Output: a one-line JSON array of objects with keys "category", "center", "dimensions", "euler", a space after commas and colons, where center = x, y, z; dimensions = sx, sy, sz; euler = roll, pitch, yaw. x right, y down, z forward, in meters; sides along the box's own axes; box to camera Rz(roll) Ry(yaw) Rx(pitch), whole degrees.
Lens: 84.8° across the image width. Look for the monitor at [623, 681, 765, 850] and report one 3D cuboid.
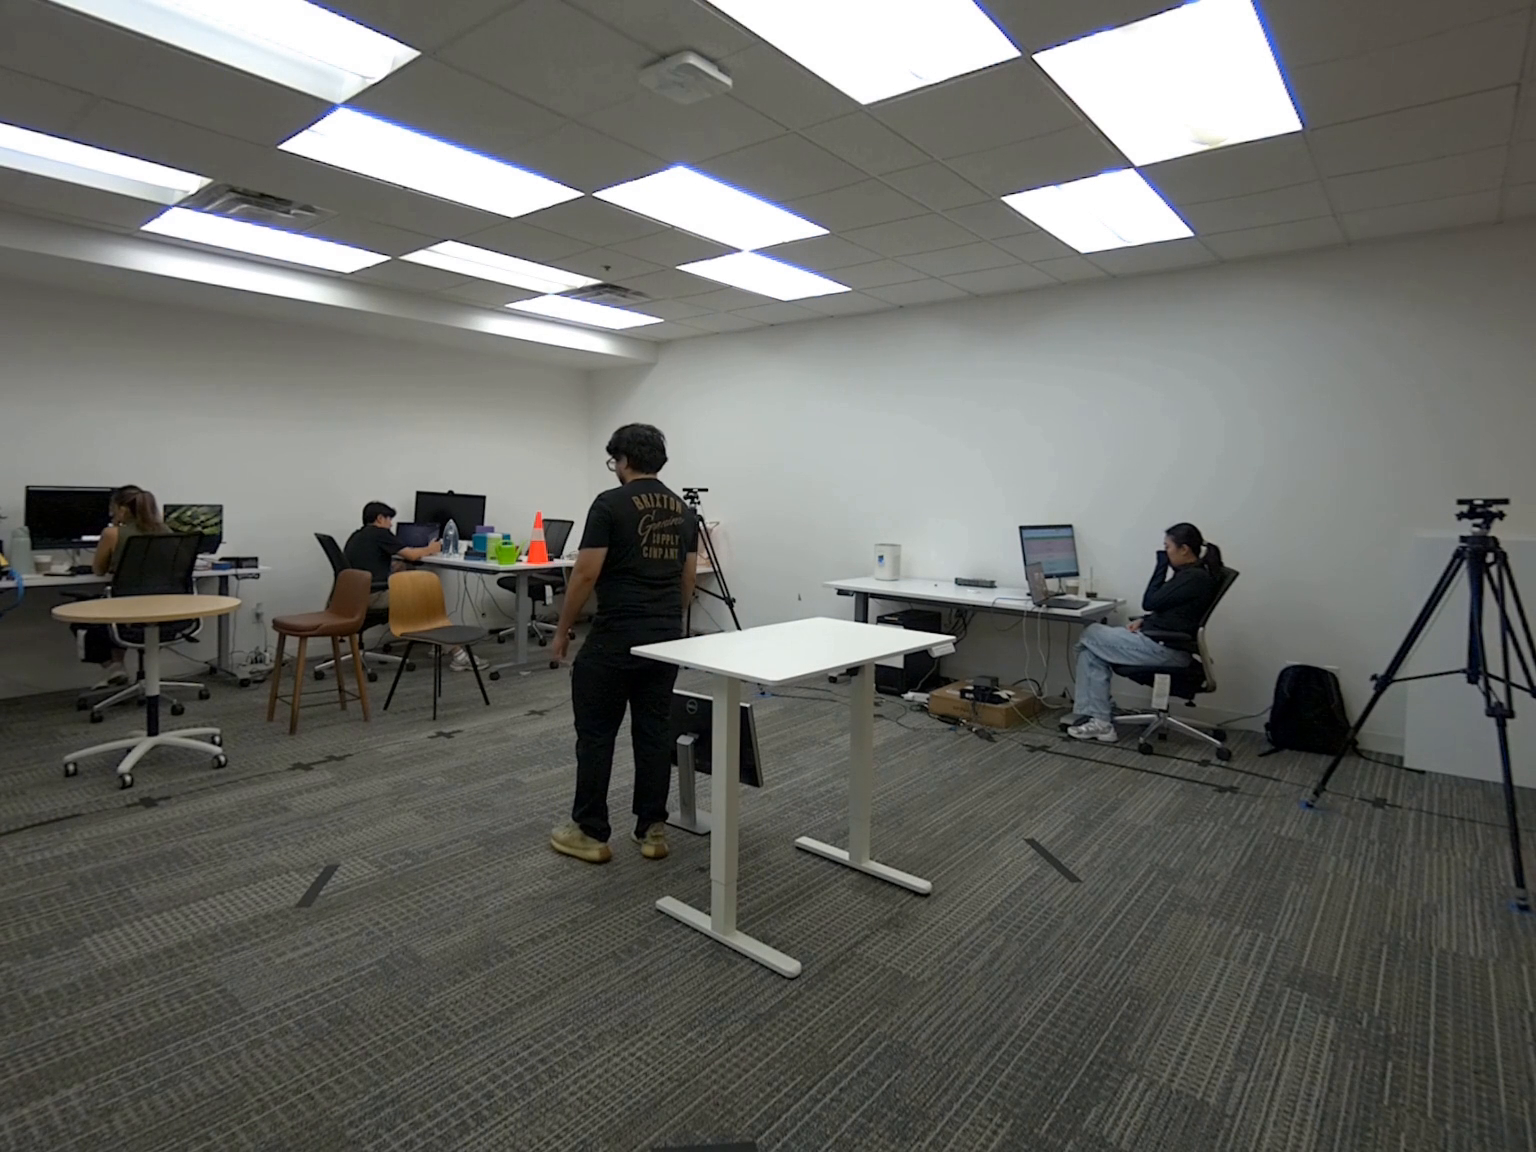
[{"category": "monitor", "center": [-0.320, 0.759, 3.516], "dimensions": [0.584, 0.550, 0.205], "euler": [4, 10, 38]}]
